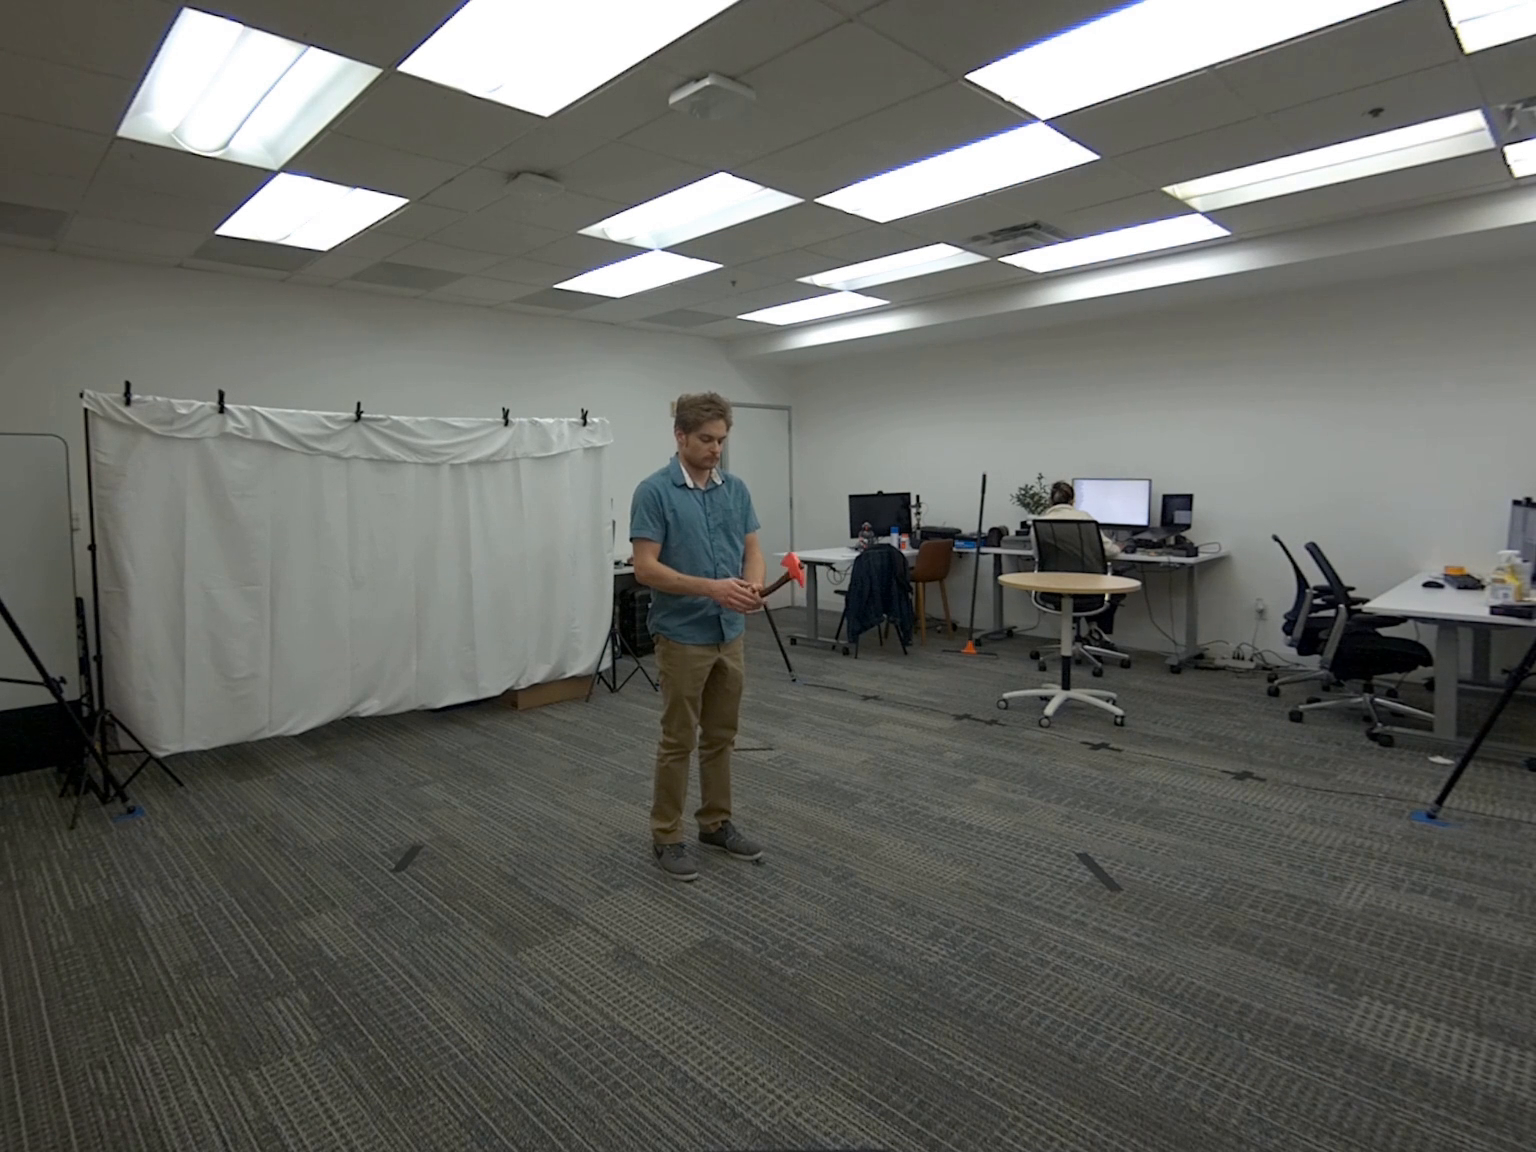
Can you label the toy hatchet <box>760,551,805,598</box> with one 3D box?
[{"bbox_3d":[0.012,0.008,2.816,0.028,0.133,0.275,9,-16,-43],"label":"toy hatchet"}]
